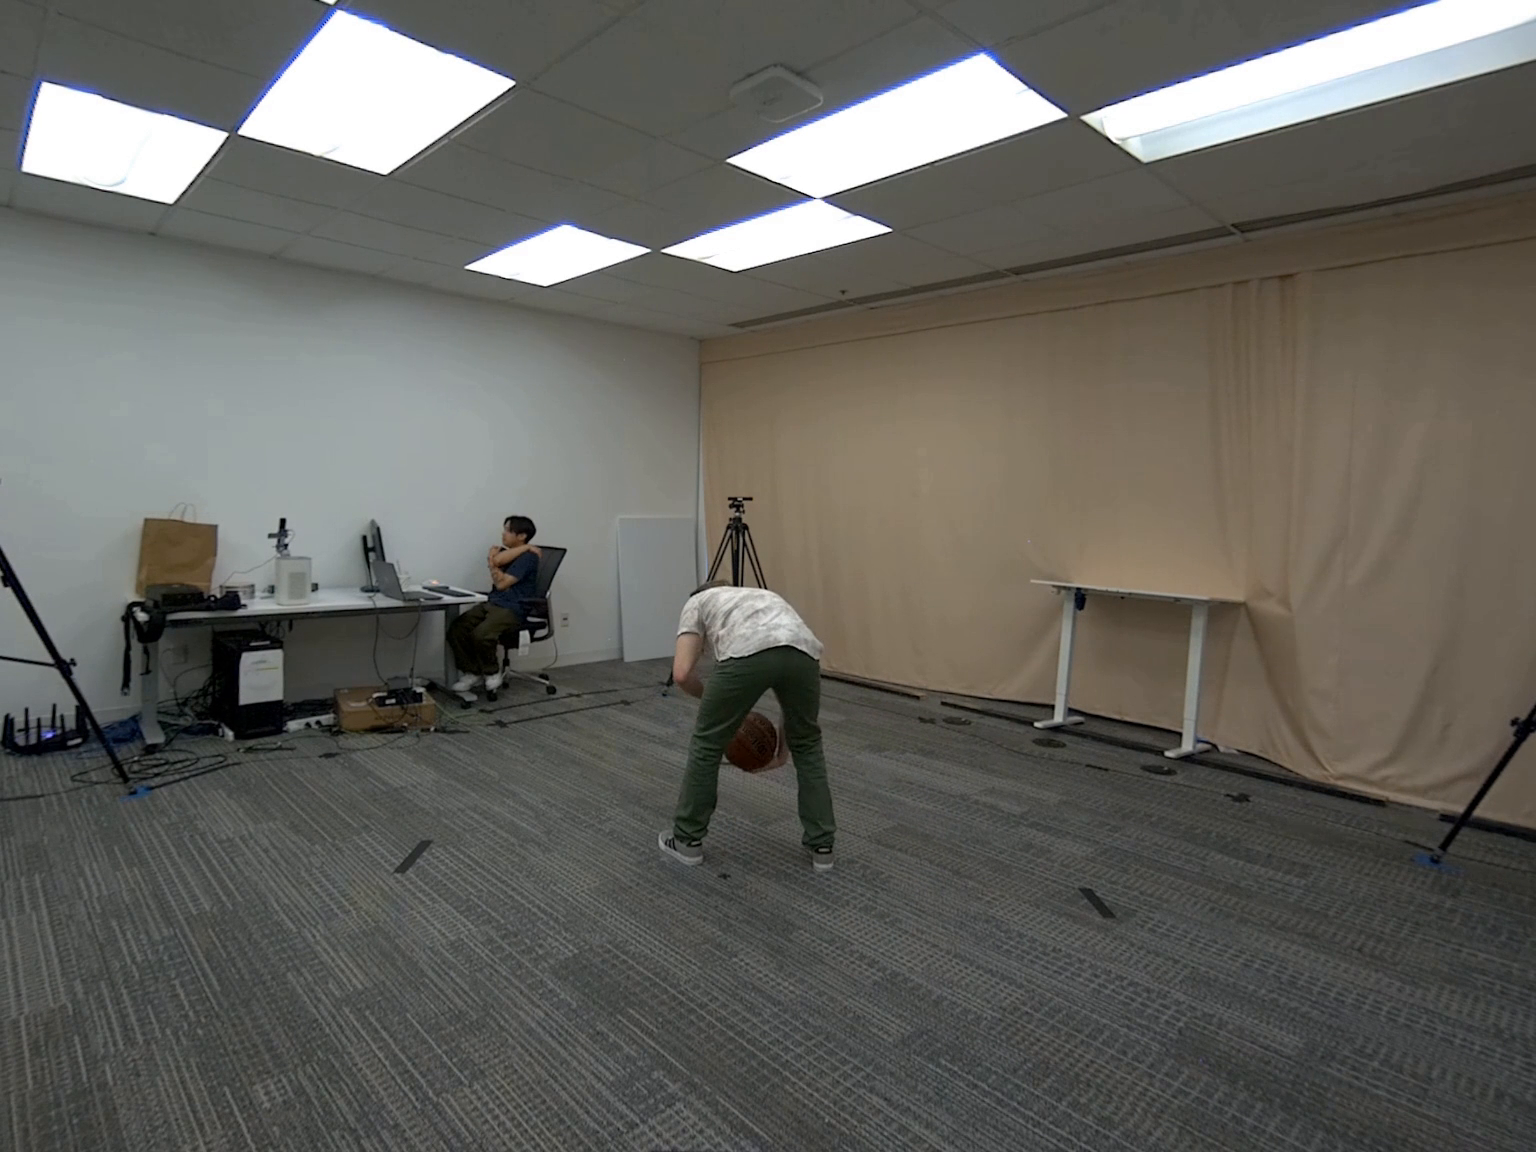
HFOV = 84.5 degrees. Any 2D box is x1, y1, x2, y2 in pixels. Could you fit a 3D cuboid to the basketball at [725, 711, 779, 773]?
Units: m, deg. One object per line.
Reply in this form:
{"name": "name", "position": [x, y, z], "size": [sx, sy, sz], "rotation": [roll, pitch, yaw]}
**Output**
{"name": "basketball", "position": [-0.088, 0.691, 3.513], "size": [0.236, 0.235, 0.237], "rotation": [1, 4, -1]}
